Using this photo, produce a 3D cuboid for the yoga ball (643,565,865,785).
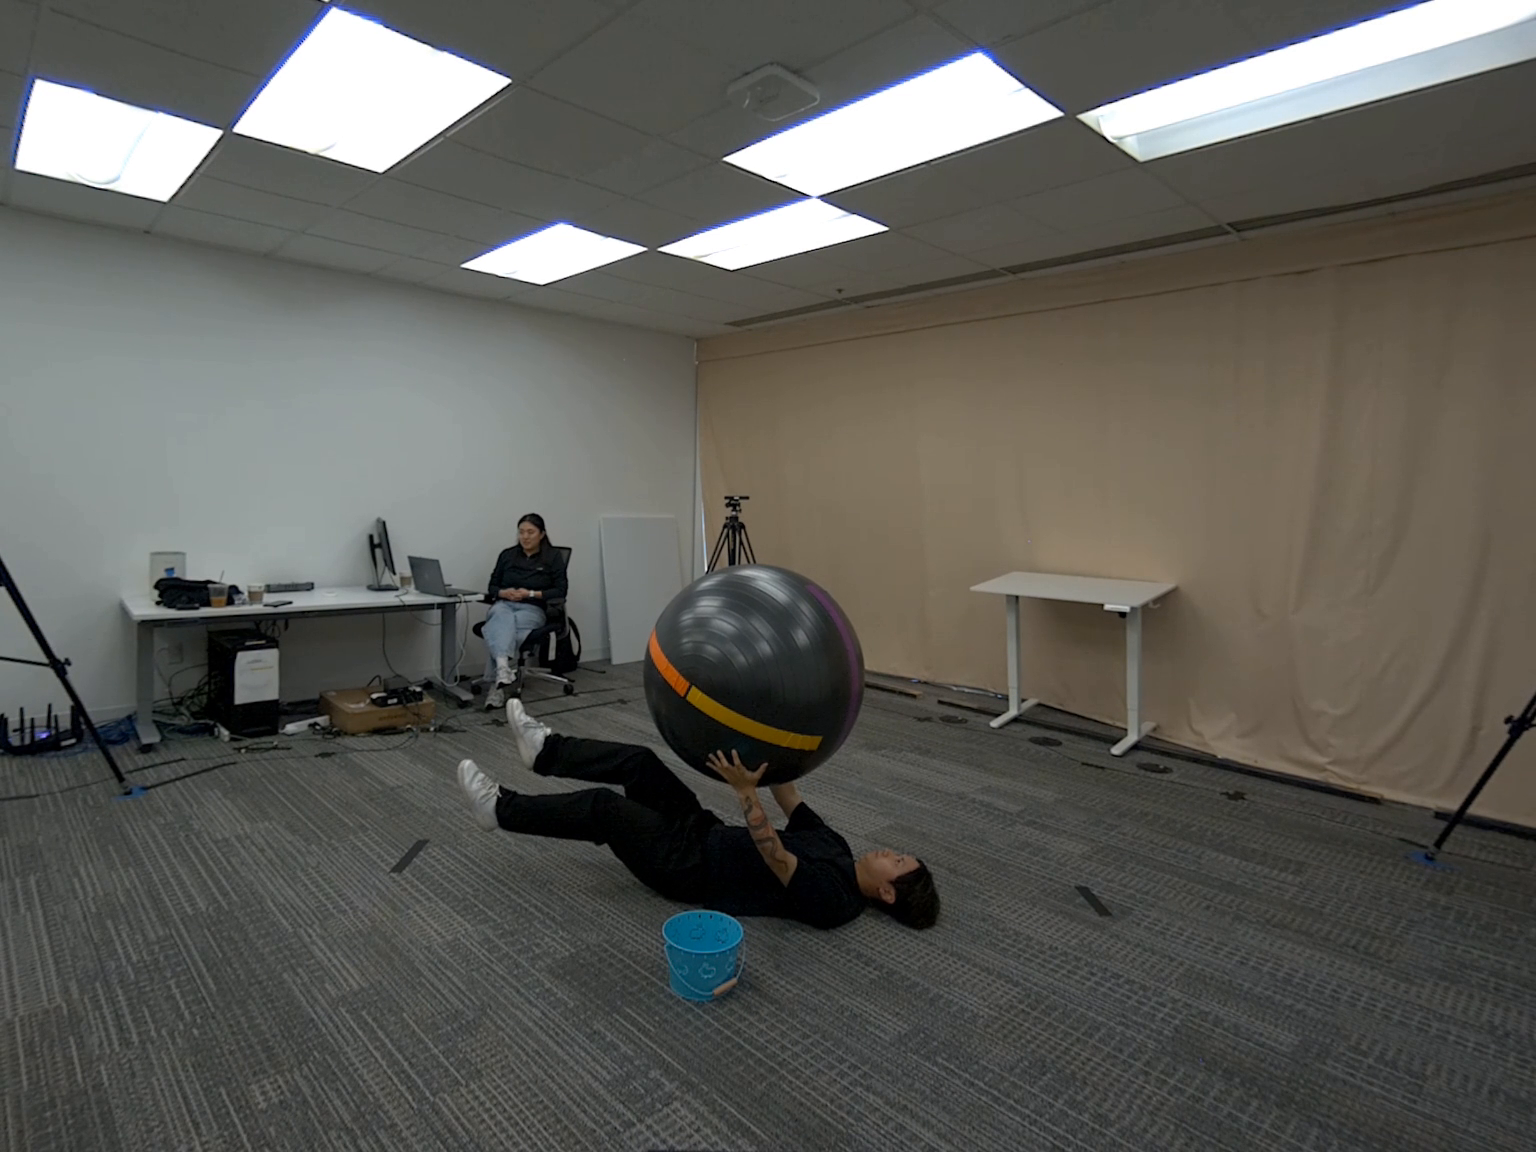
[{"bbox_3d":[-0.048,0.347,2.913,0.757,0.756,0.761,1,4,-1],"label":"yoga ball"}]
